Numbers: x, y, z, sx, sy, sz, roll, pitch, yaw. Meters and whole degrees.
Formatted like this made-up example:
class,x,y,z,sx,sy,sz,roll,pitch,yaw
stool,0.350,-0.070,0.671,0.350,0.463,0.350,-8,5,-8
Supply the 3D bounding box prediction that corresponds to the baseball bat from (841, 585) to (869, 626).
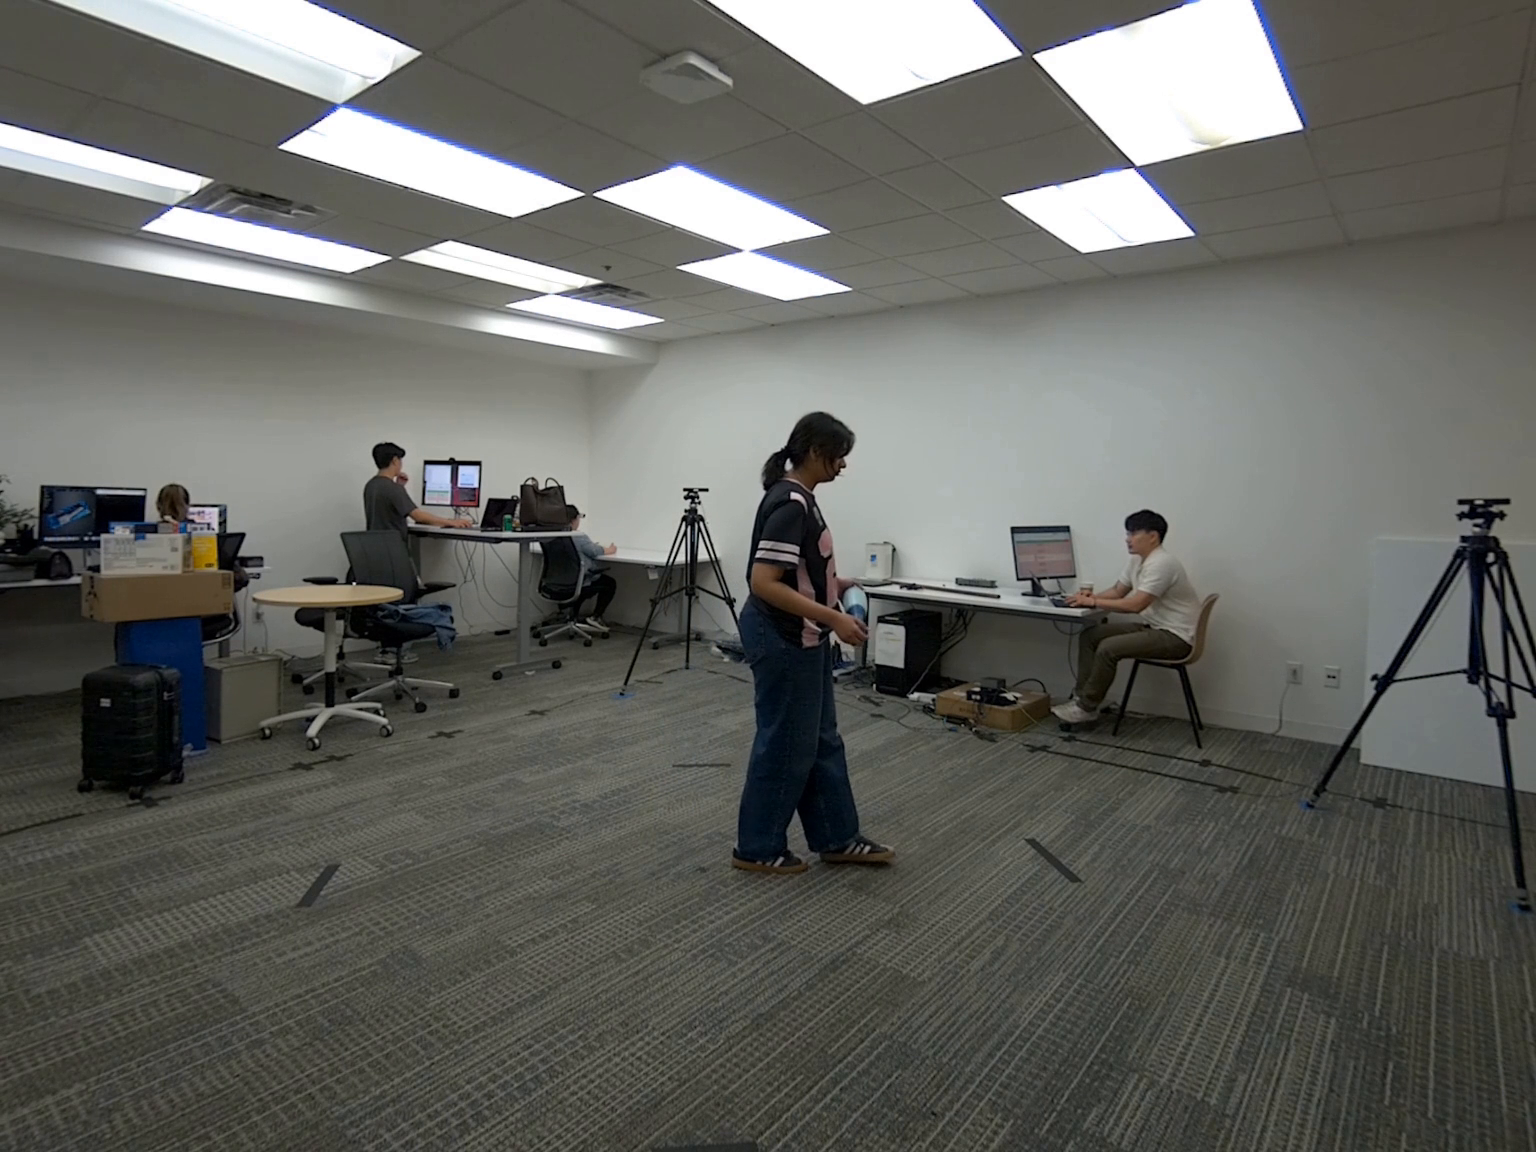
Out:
class,x,y,z,sx,sy,sz,roll,pitch,yaw
baseball bat,0.316,0.142,3.084,0.089,0.088,0.546,1,14,4
